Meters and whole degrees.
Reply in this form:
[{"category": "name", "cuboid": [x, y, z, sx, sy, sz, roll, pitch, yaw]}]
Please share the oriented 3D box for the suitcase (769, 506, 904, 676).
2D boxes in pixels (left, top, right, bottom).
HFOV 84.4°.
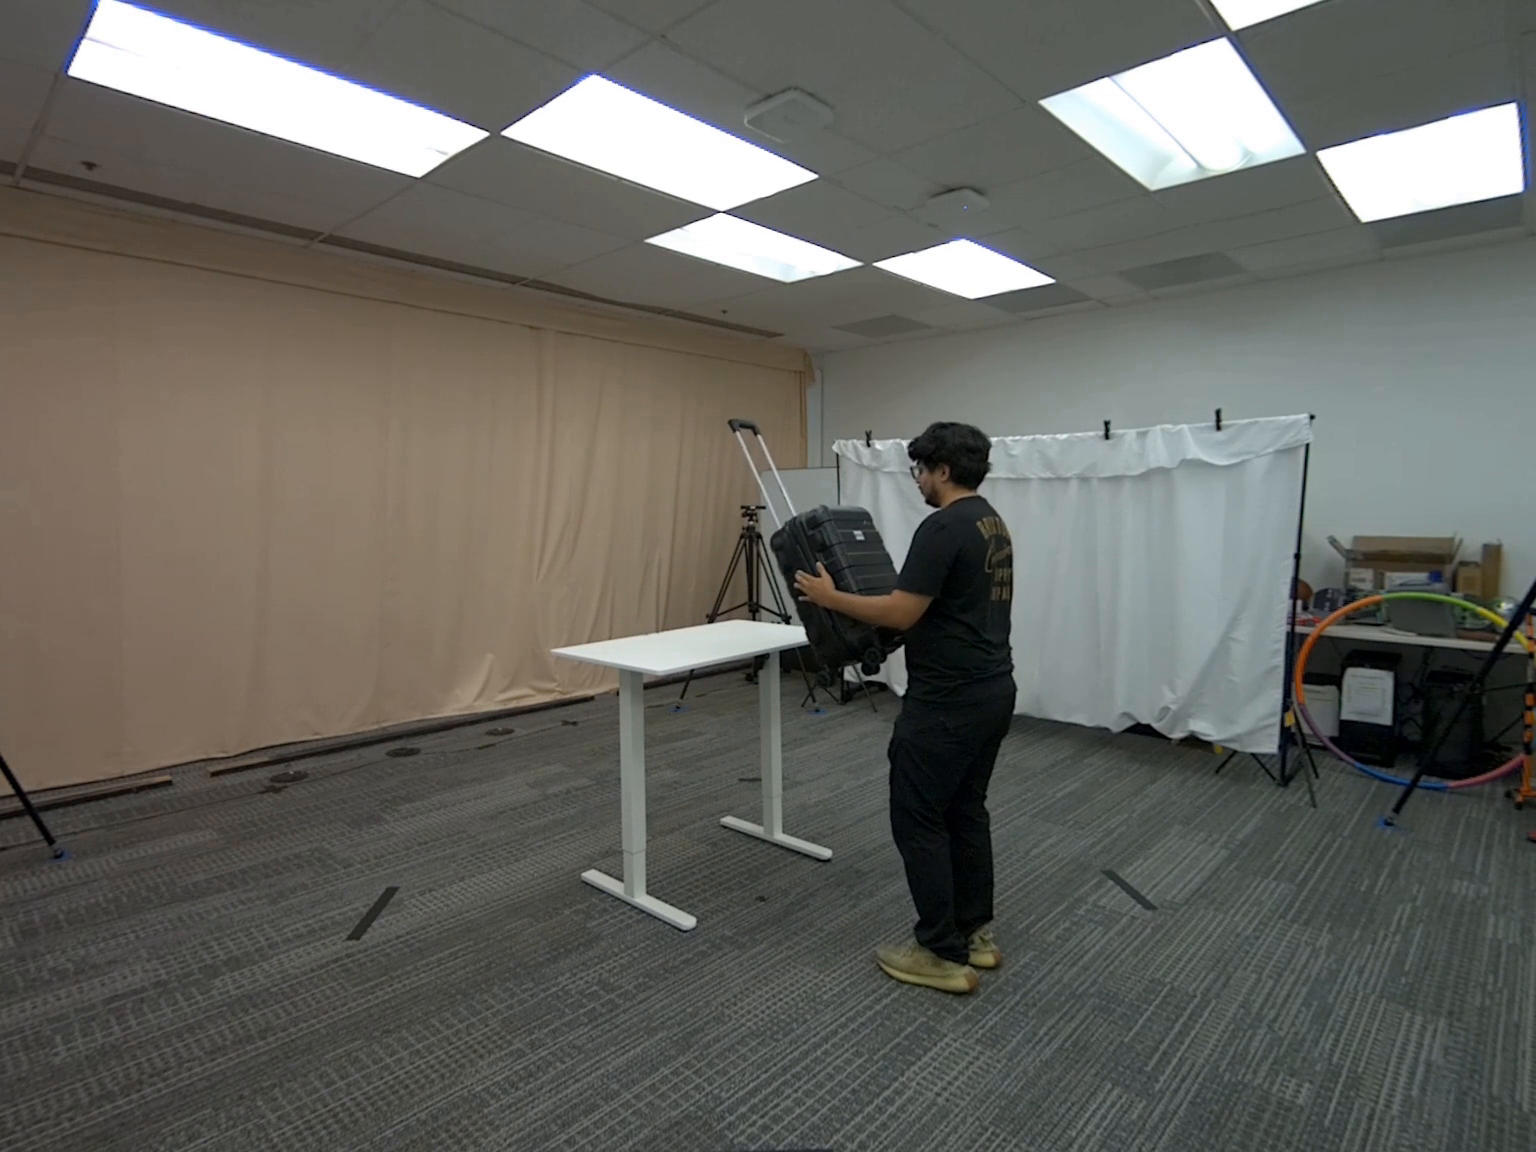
[{"category": "suitcase", "cuboid": [0.184, -0.143, 2.810, 0.261, 0.991, 0.372, -30, -16, 34]}]
